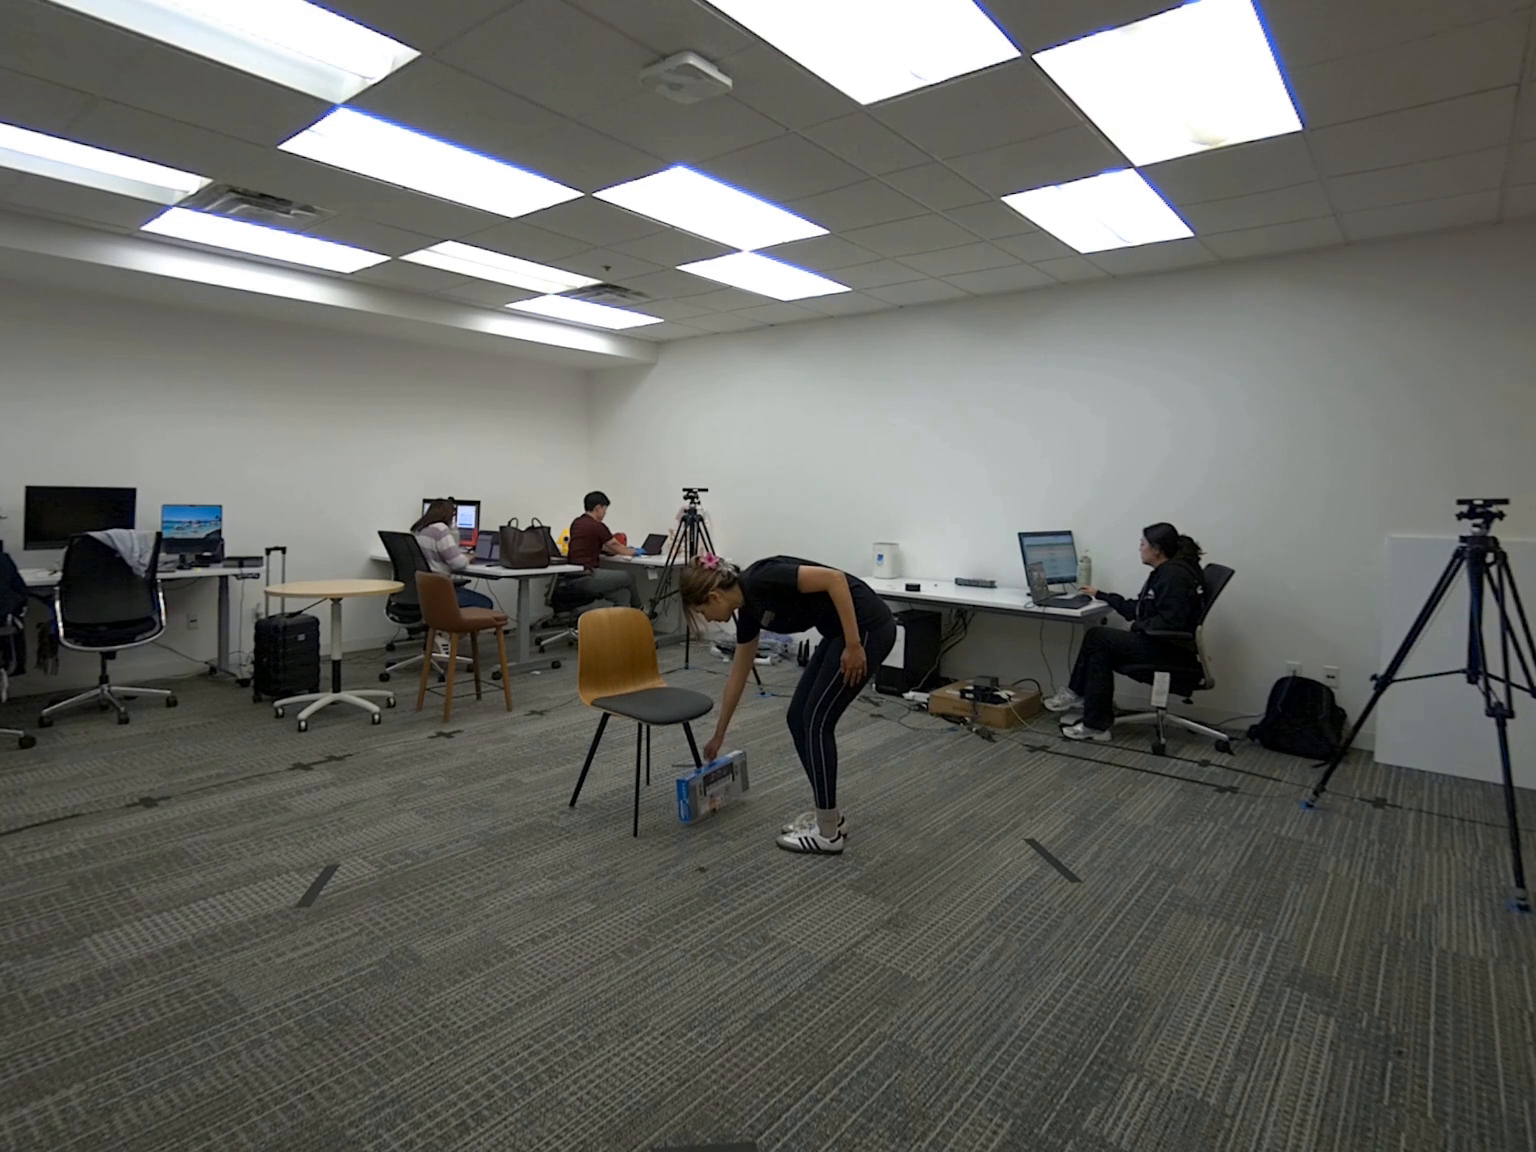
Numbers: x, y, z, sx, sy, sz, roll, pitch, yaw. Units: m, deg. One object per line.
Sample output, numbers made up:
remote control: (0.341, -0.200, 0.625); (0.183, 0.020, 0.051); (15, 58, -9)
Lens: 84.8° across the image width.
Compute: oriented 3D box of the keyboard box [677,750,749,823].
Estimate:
keyboard box: (-0.237, 0.897, 3.656); (0.061, 0.175, 0.426); (-3, 4, 34)
